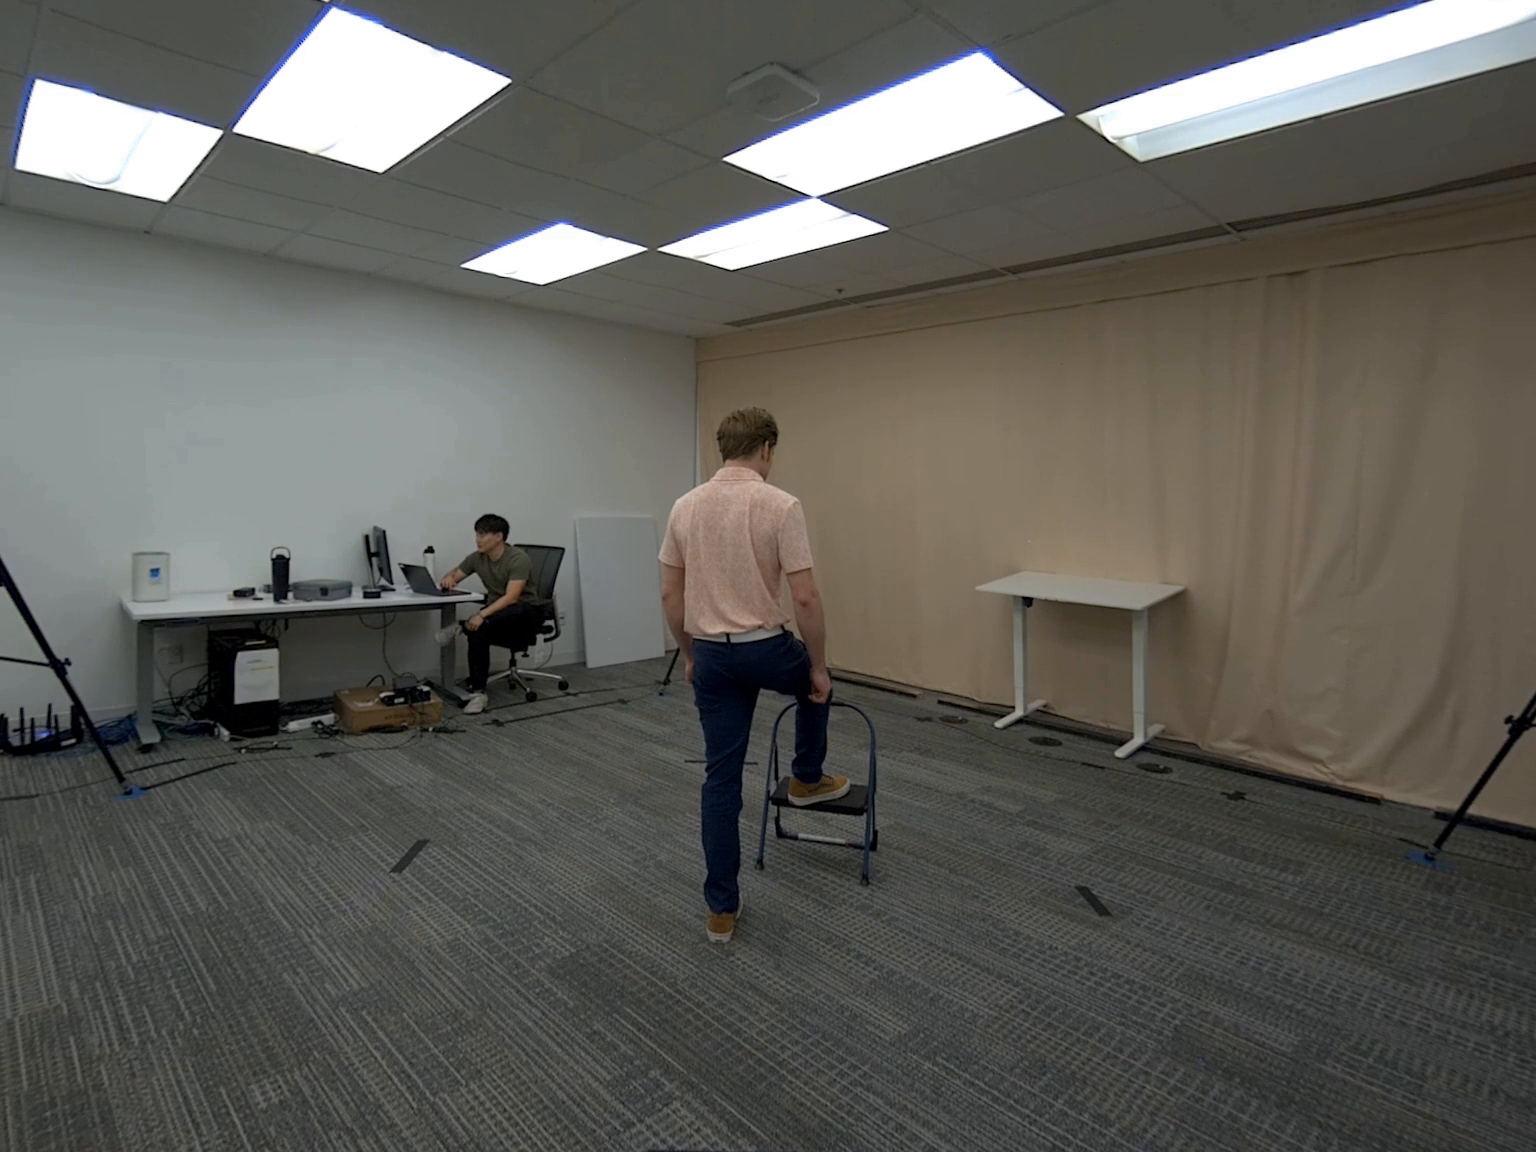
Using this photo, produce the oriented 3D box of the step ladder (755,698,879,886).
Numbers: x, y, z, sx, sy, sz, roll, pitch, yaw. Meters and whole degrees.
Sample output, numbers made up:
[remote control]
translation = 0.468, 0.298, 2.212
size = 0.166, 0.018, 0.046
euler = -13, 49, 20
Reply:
[step ladder]
translation = 0.201, 0.797, 3.256
size = 0.436, 0.605, 0.345
euler = 2, 3, 15
